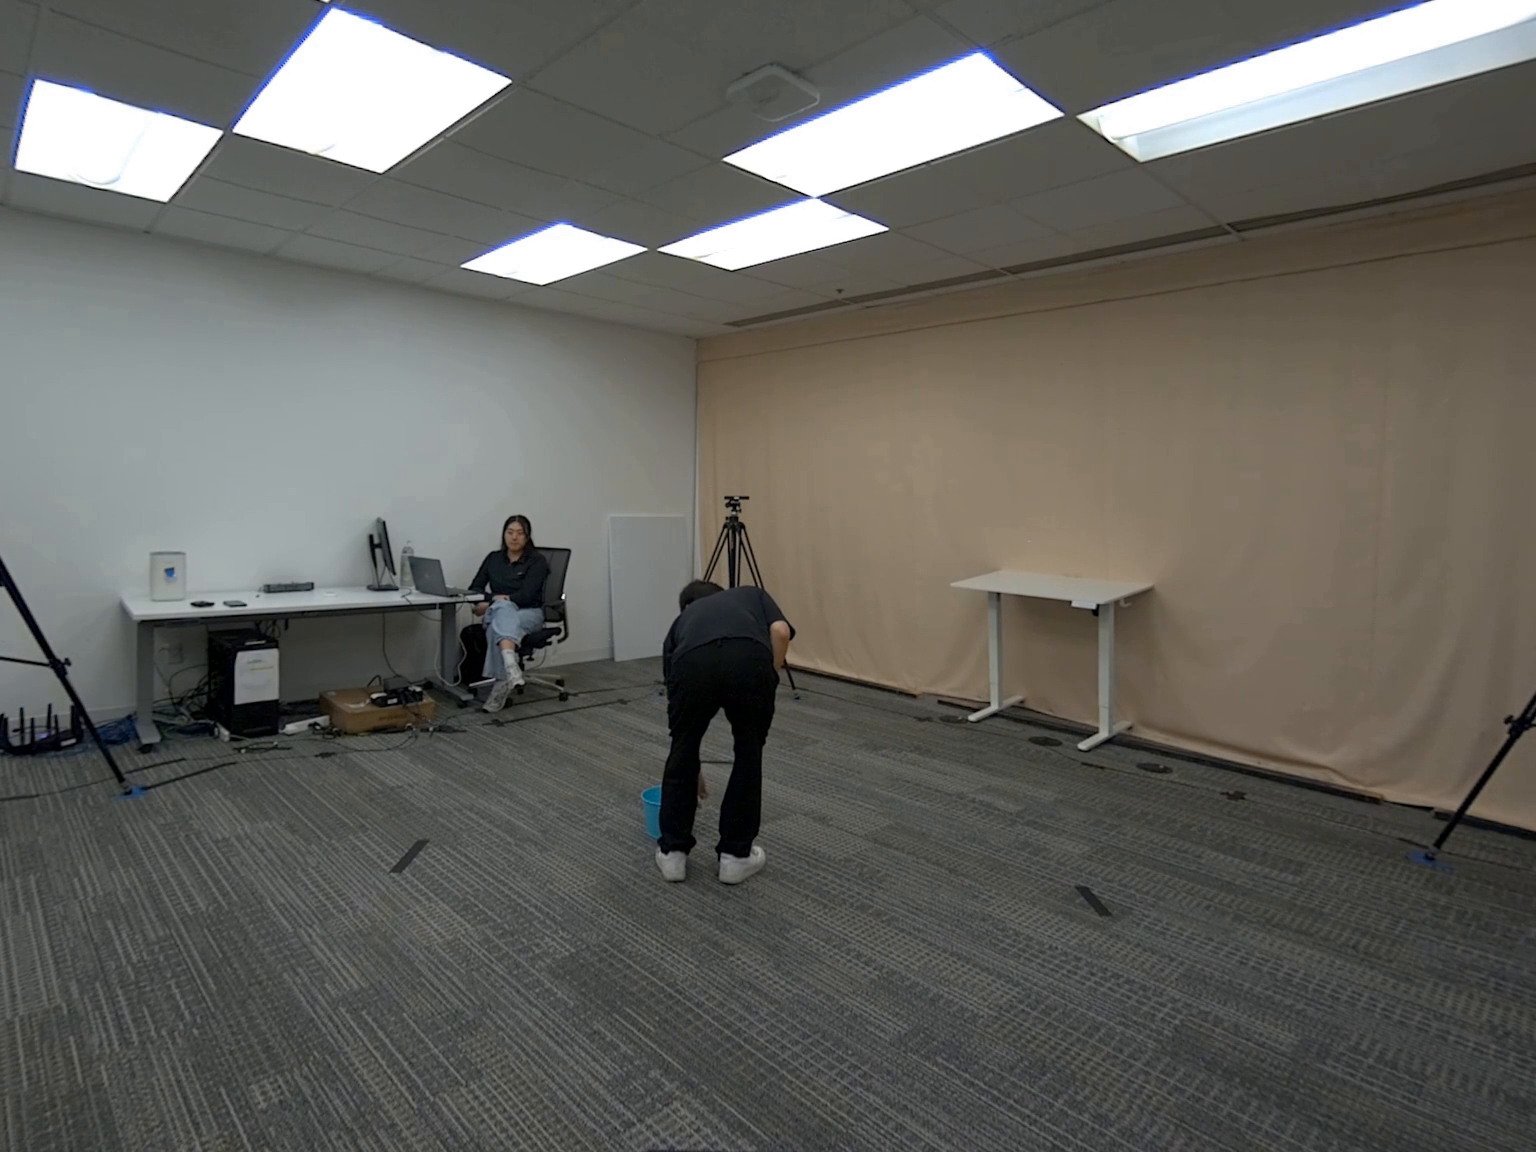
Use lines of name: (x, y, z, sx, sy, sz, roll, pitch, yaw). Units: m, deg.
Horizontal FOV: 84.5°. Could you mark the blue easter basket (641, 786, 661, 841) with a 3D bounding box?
blue easter basket: (-0.415, 0.988, 3.504, 0.243, 0.155, 0.244, 2, 4, -2)
